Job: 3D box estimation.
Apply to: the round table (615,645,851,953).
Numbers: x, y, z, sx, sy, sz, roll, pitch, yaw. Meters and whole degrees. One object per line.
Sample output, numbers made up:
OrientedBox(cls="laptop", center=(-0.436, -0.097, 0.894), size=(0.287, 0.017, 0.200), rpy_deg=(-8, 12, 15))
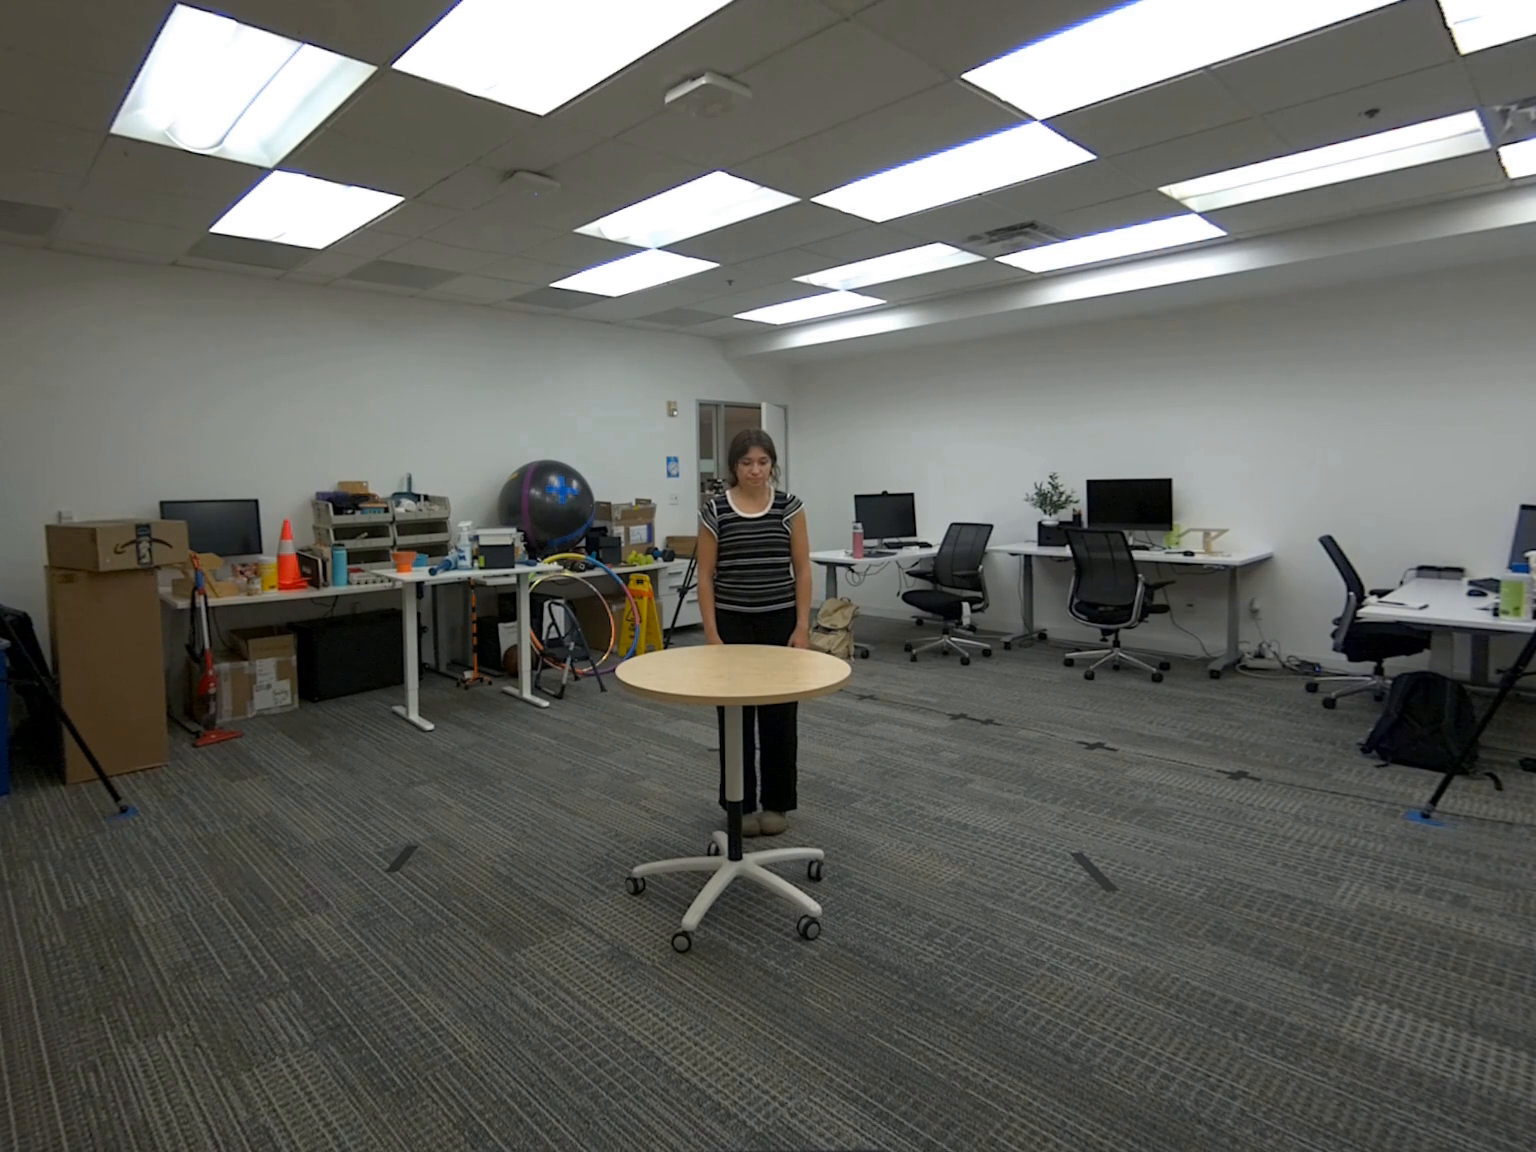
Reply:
OrientedBox(cls="round table", center=(-0.116, 0.688, 2.829), size=(0.784, 0.783, 0.789), rpy_deg=(-1, 5, -2))
